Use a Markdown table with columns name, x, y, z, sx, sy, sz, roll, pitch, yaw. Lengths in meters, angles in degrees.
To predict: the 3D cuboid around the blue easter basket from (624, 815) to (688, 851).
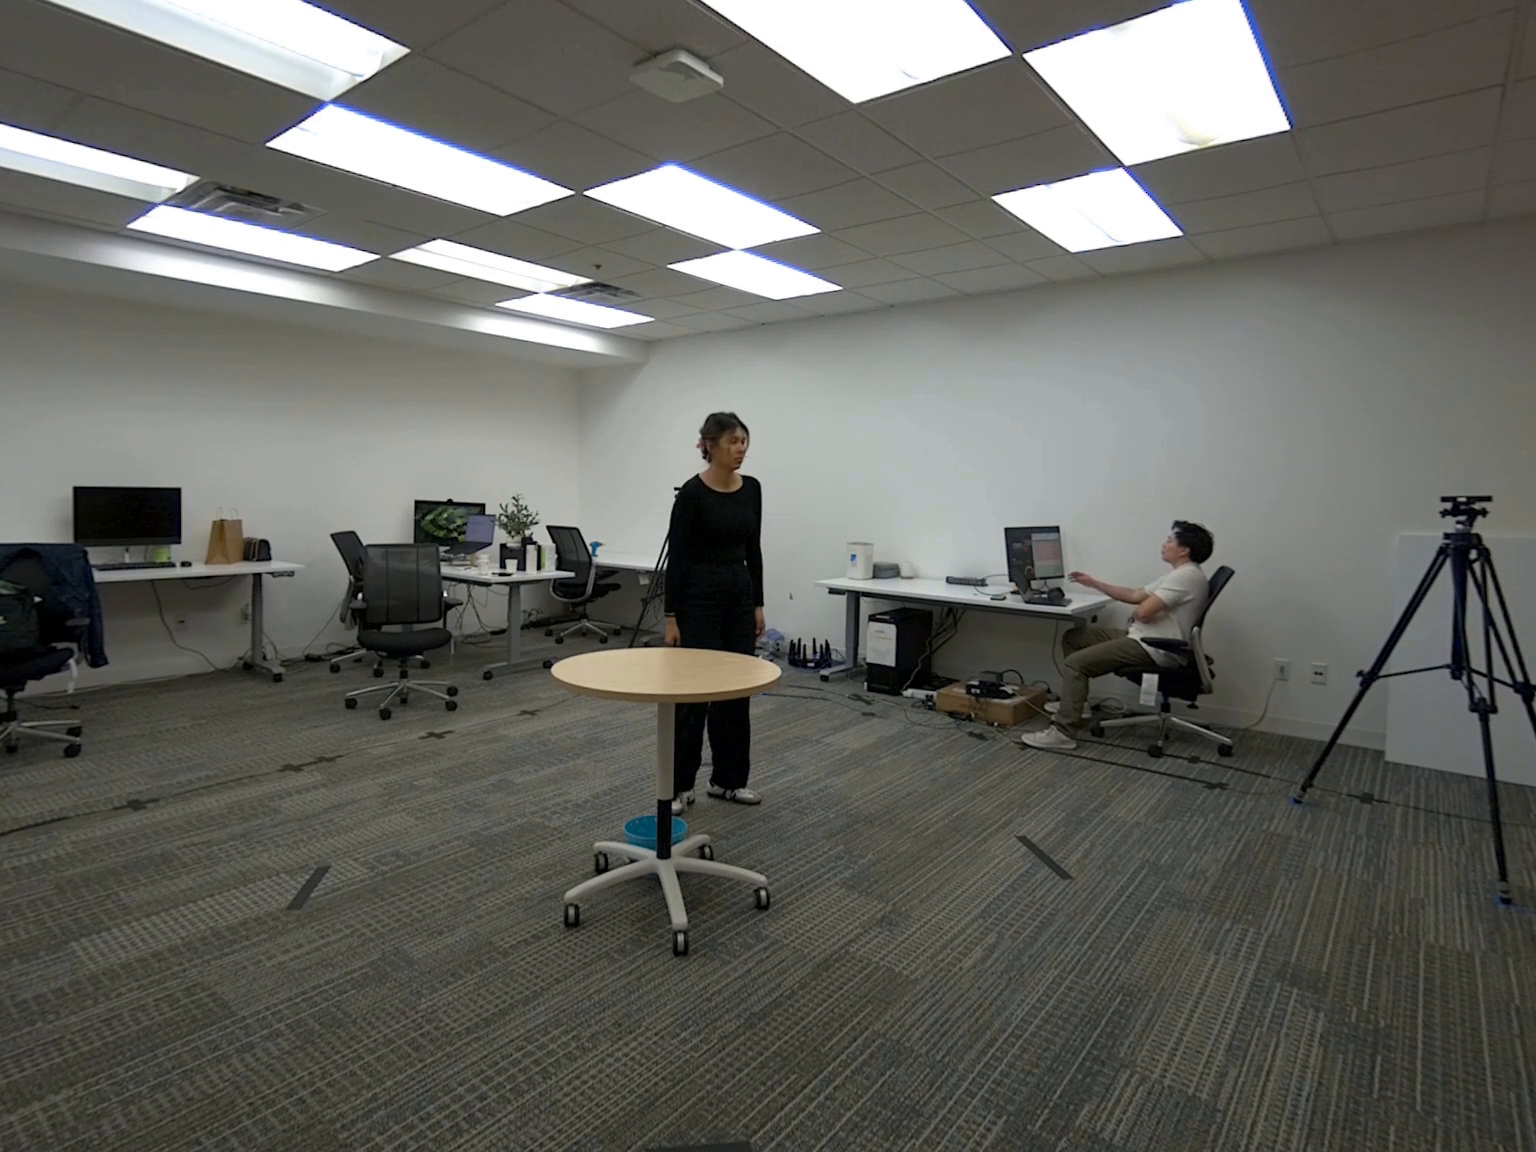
| name | x | y | z | sx | sy | sz | roll | pitch | yaw |
| --- | --- | --- | --- | --- | --- | --- | --- | --- | --- |
| blue easter basket | -0.431 | 0.988 | 3.106 | 0.243 | 0.155 | 0.245 | 1 | 5 | -2 |
